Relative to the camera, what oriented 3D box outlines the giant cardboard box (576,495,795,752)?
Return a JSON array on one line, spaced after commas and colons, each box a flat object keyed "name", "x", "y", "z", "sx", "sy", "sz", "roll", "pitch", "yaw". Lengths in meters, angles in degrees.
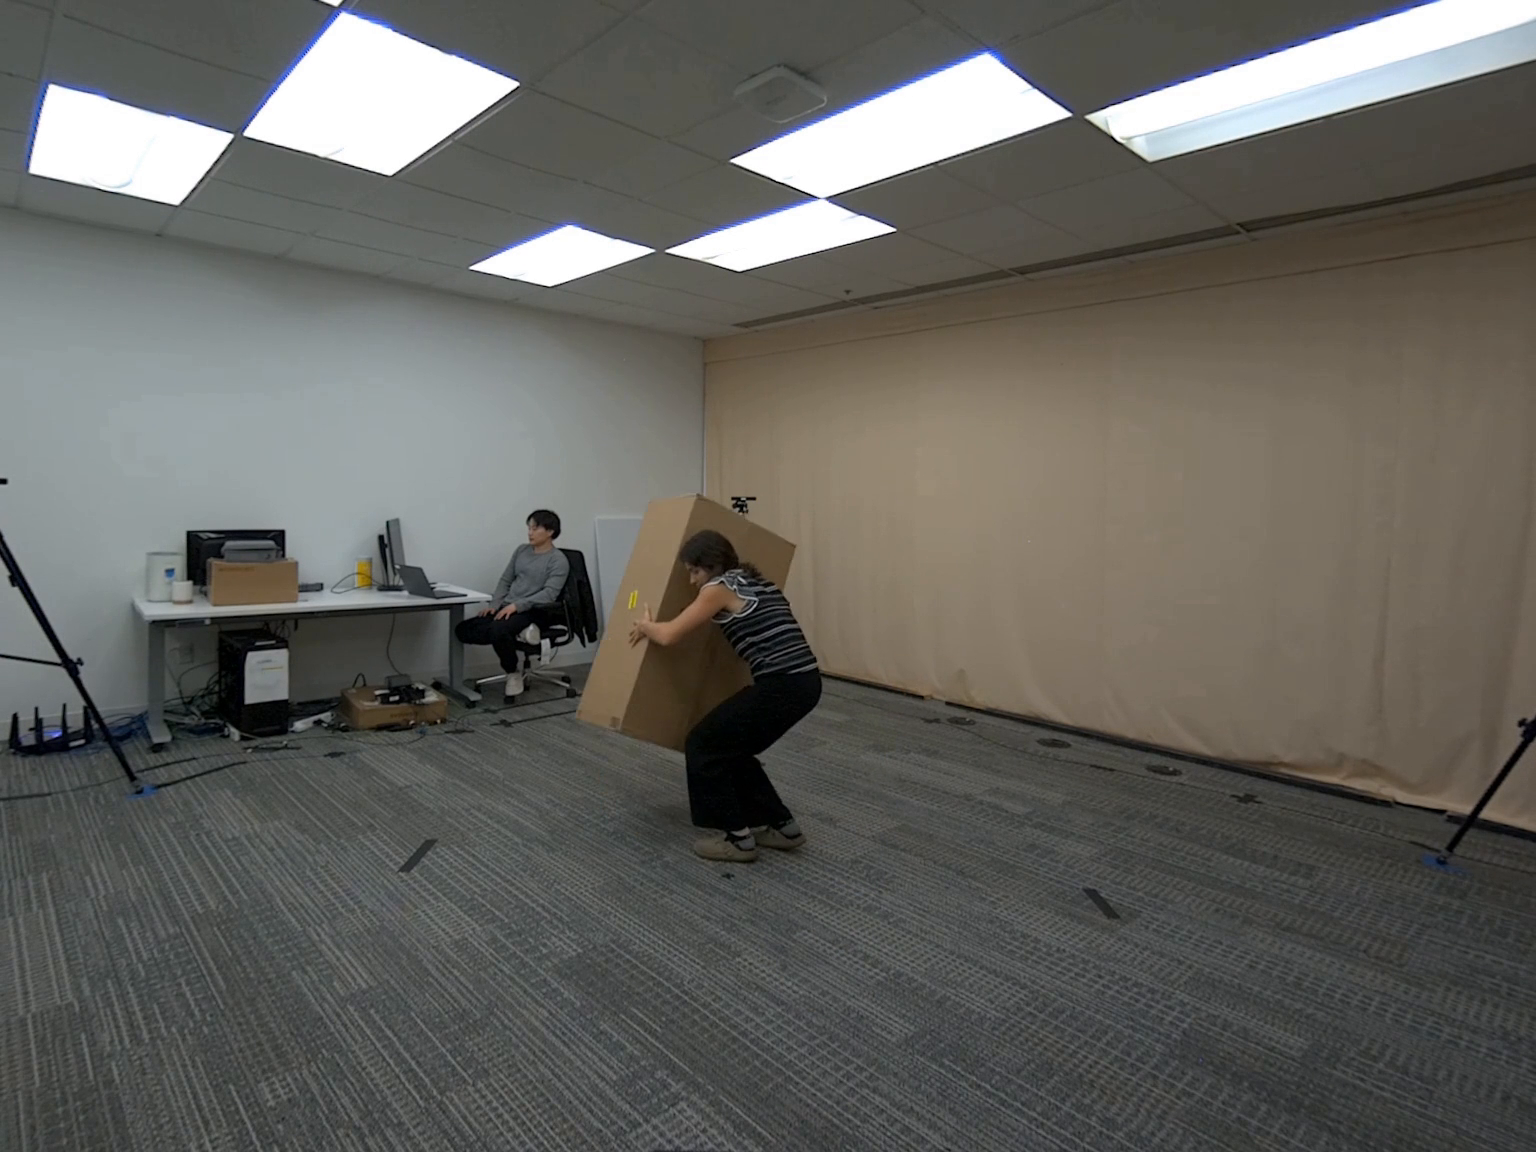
[{"name": "giant cardboard box", "x": -0.353, "y": 0.231, "z": 3.708, "sx": 0.562, "sy": 1.032, "sz": 0.435, "roll": 26, "pitch": -17, "yaw": -32}]
